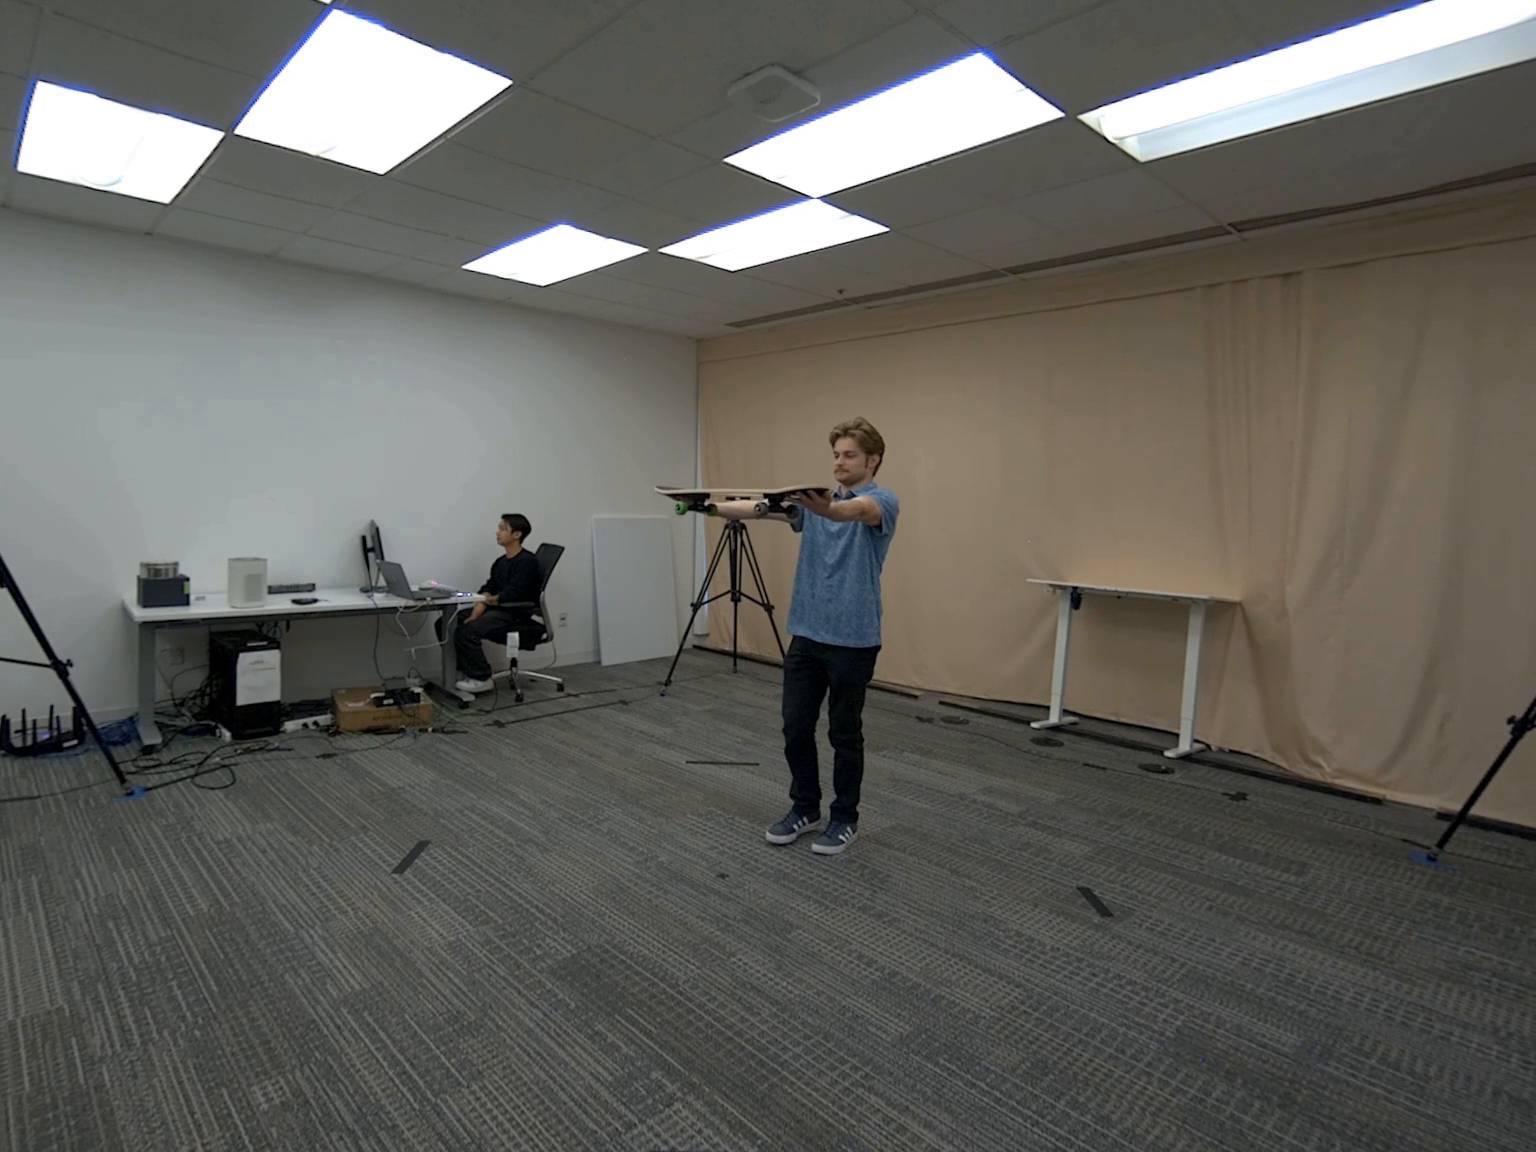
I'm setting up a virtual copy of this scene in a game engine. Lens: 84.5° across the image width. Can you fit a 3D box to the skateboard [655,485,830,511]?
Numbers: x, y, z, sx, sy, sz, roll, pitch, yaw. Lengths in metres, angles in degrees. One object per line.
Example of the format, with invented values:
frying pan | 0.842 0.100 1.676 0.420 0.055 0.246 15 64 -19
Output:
skateboard | -0.120 -0.252 2.946 0.805 0.110 0.188 5 -3 44
